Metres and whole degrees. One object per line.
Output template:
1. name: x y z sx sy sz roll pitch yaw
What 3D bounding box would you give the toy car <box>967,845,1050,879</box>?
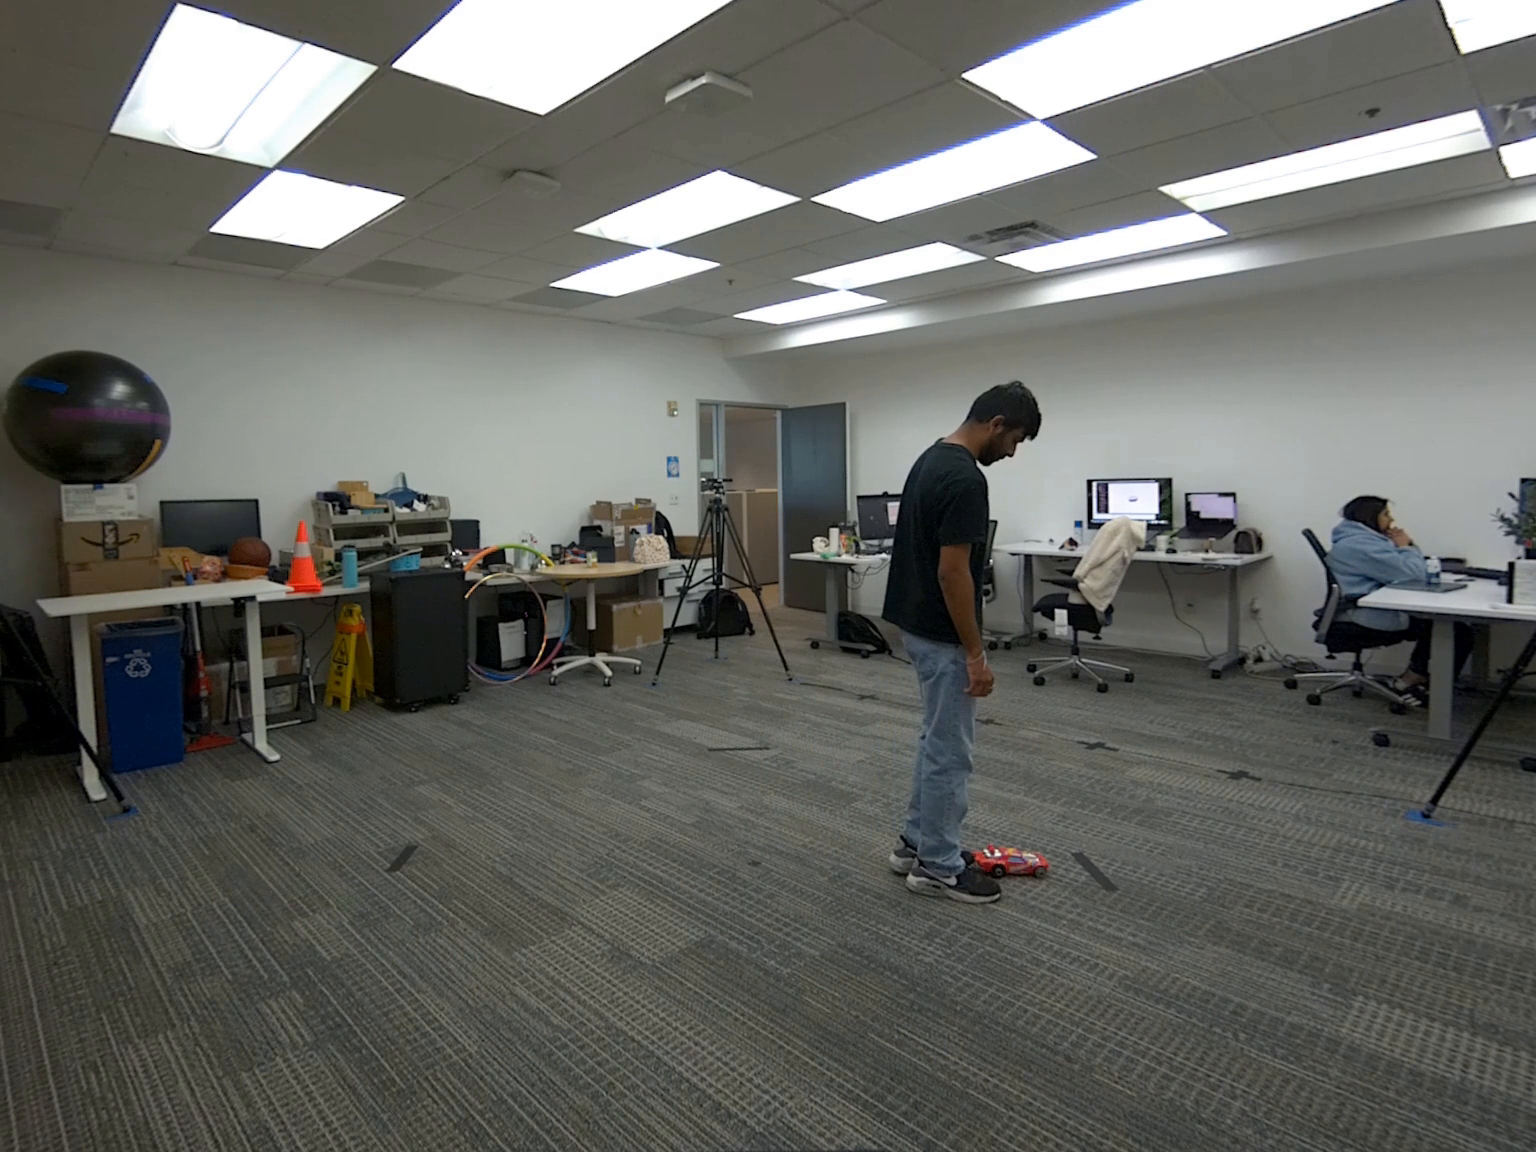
1. toy car: 0.847 1.002 3.002 0.255 0.083 0.130 11 6 1
